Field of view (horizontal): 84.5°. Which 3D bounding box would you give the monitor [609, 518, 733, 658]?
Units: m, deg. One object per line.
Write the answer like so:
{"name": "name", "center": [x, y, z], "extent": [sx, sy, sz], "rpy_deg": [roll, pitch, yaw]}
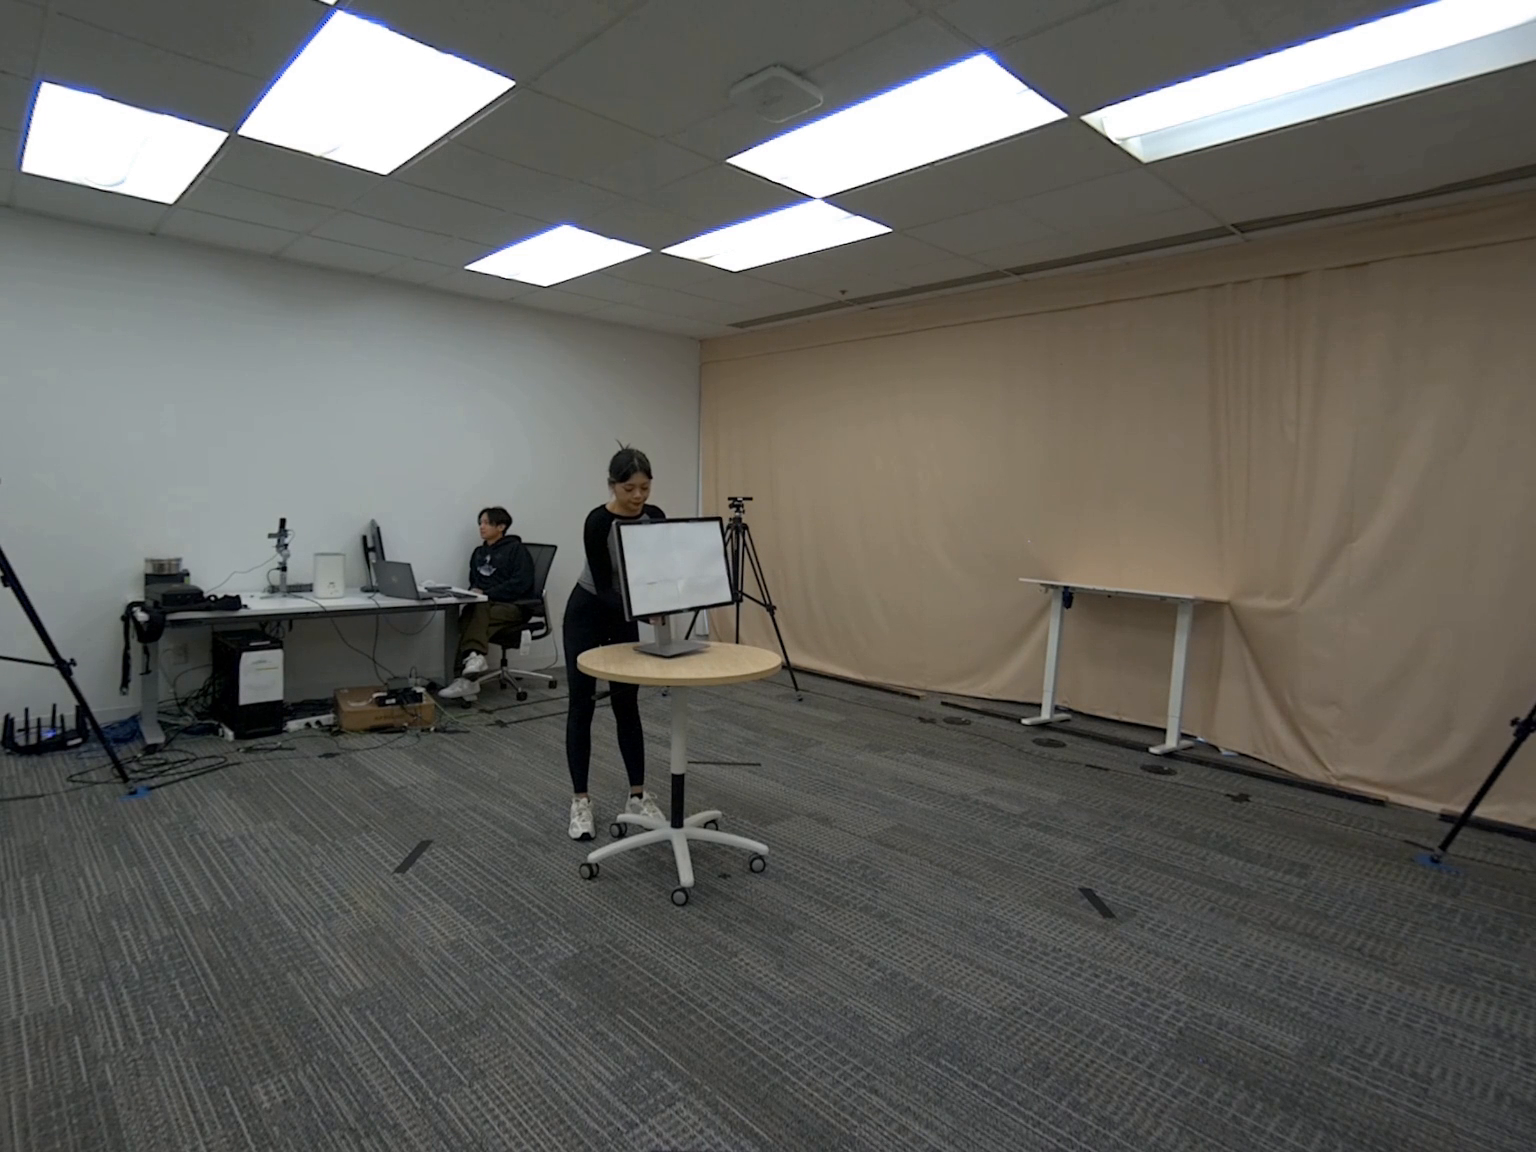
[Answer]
{"name": "monitor", "center": [-0.378, 0.039, 3.244], "extent": [0.179, 0.513, 0.518], "rpy_deg": [14, 11, 39]}
